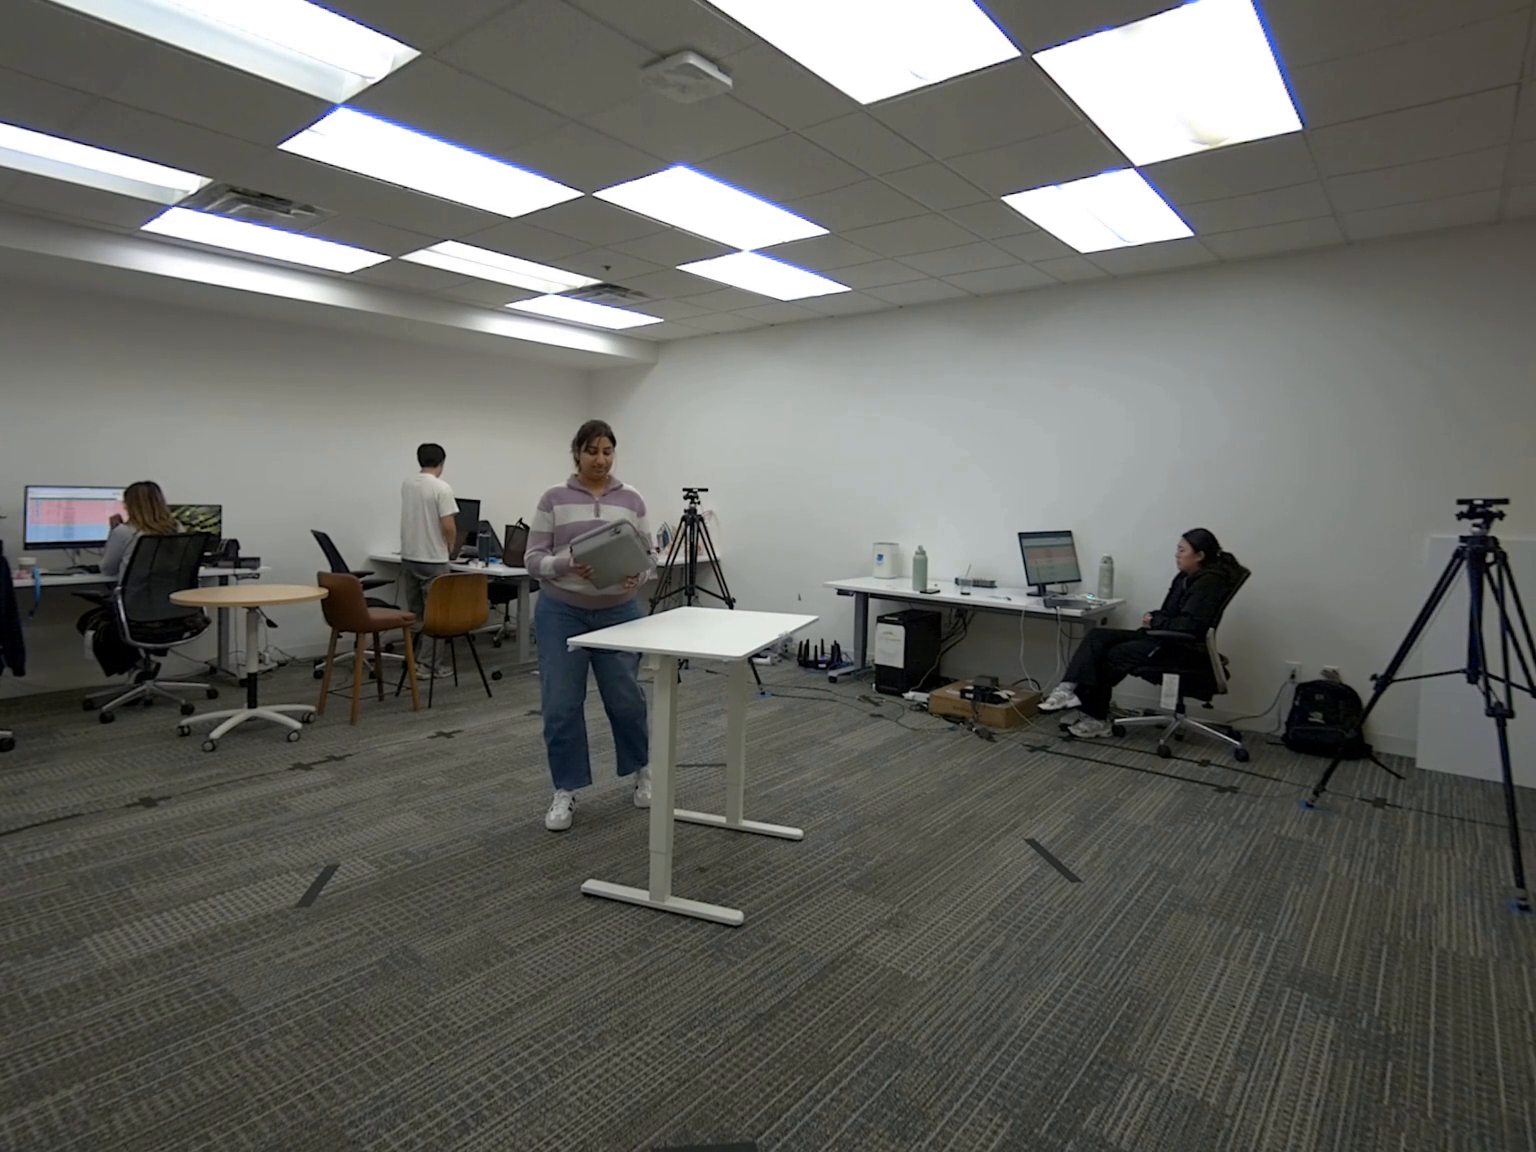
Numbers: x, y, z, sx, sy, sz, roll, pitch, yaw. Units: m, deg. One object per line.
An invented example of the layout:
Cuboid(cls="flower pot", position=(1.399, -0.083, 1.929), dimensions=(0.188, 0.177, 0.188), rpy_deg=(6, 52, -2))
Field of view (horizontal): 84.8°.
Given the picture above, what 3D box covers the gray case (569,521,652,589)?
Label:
Cuboid(cls="gray case", position=(-0.616, -0.086, 3.293), dimensions=(0.261, 0.108, 0.247), rpy_deg=(-21, -40, 2))
